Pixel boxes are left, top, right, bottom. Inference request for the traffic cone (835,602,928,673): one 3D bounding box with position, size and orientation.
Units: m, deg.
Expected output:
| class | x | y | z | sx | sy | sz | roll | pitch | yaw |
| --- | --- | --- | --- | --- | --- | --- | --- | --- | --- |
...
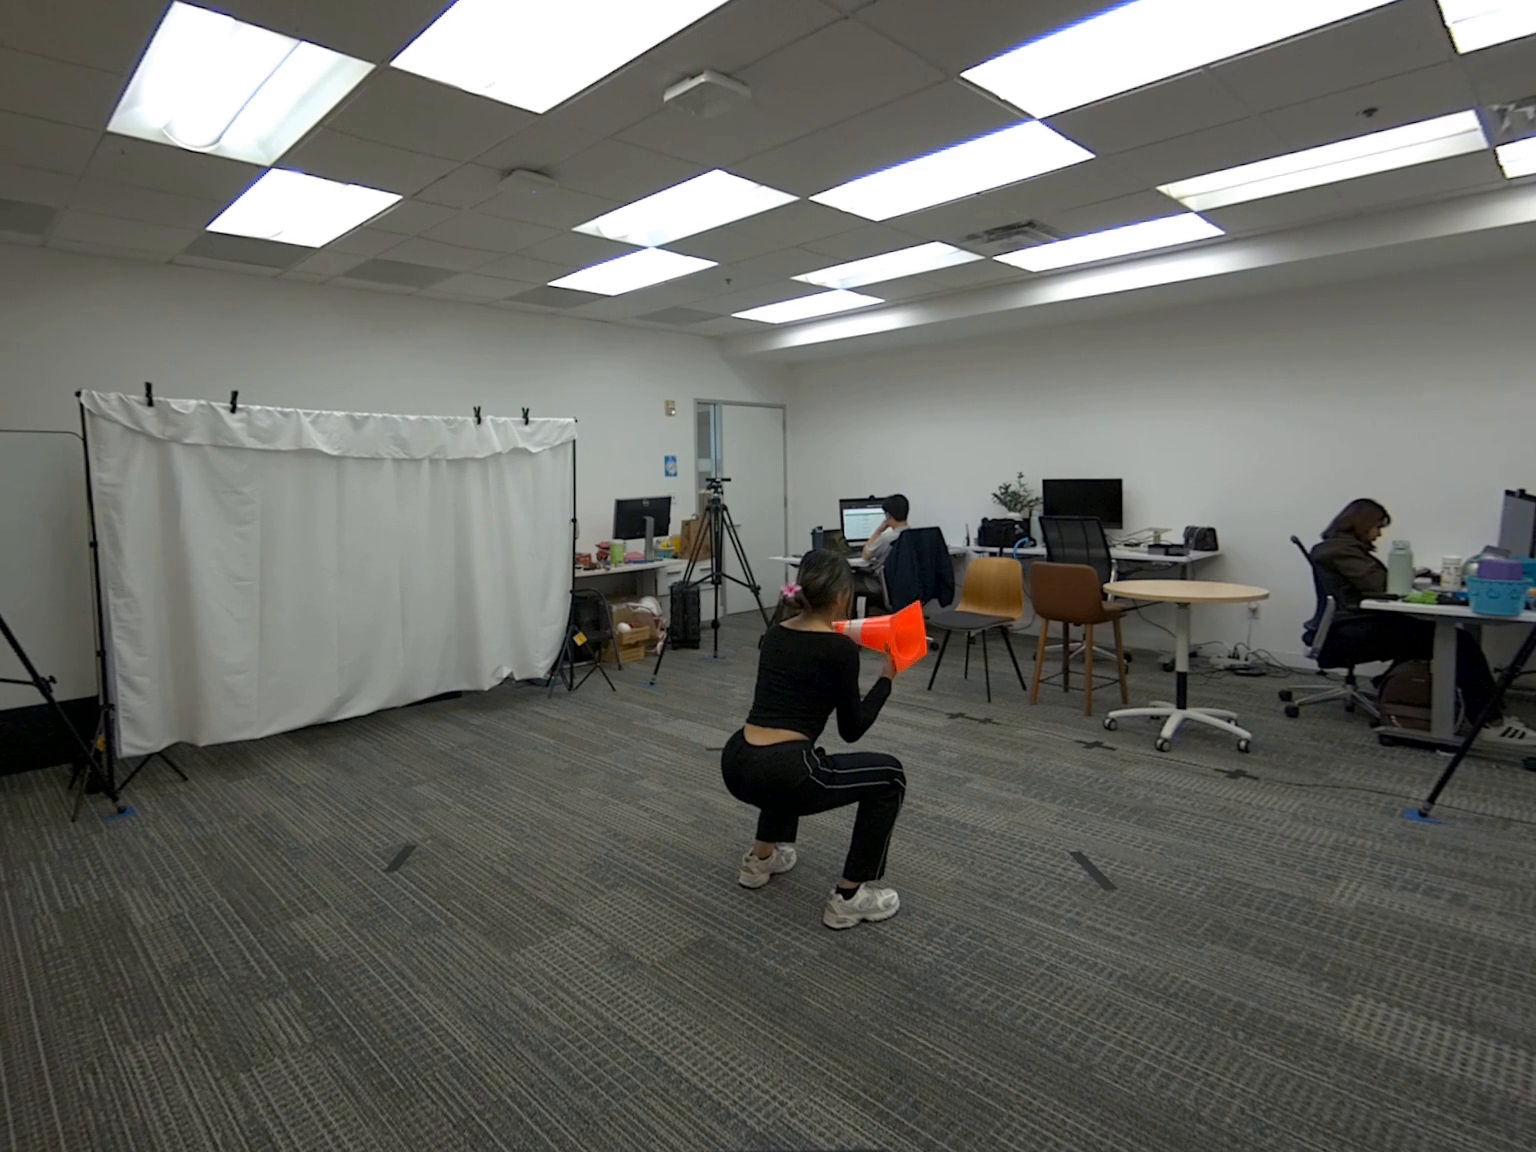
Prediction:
| class | x | y | z | sx | sy | sz | roll | pitch | yaw |
| --- | --- | --- | --- | --- | --- | --- | --- | --- | --- |
| traffic cone | 0.352 | 0.195 | 3.065 | 0.395 | 0.203 | 0.199 | 3 | 17 | 45 |
